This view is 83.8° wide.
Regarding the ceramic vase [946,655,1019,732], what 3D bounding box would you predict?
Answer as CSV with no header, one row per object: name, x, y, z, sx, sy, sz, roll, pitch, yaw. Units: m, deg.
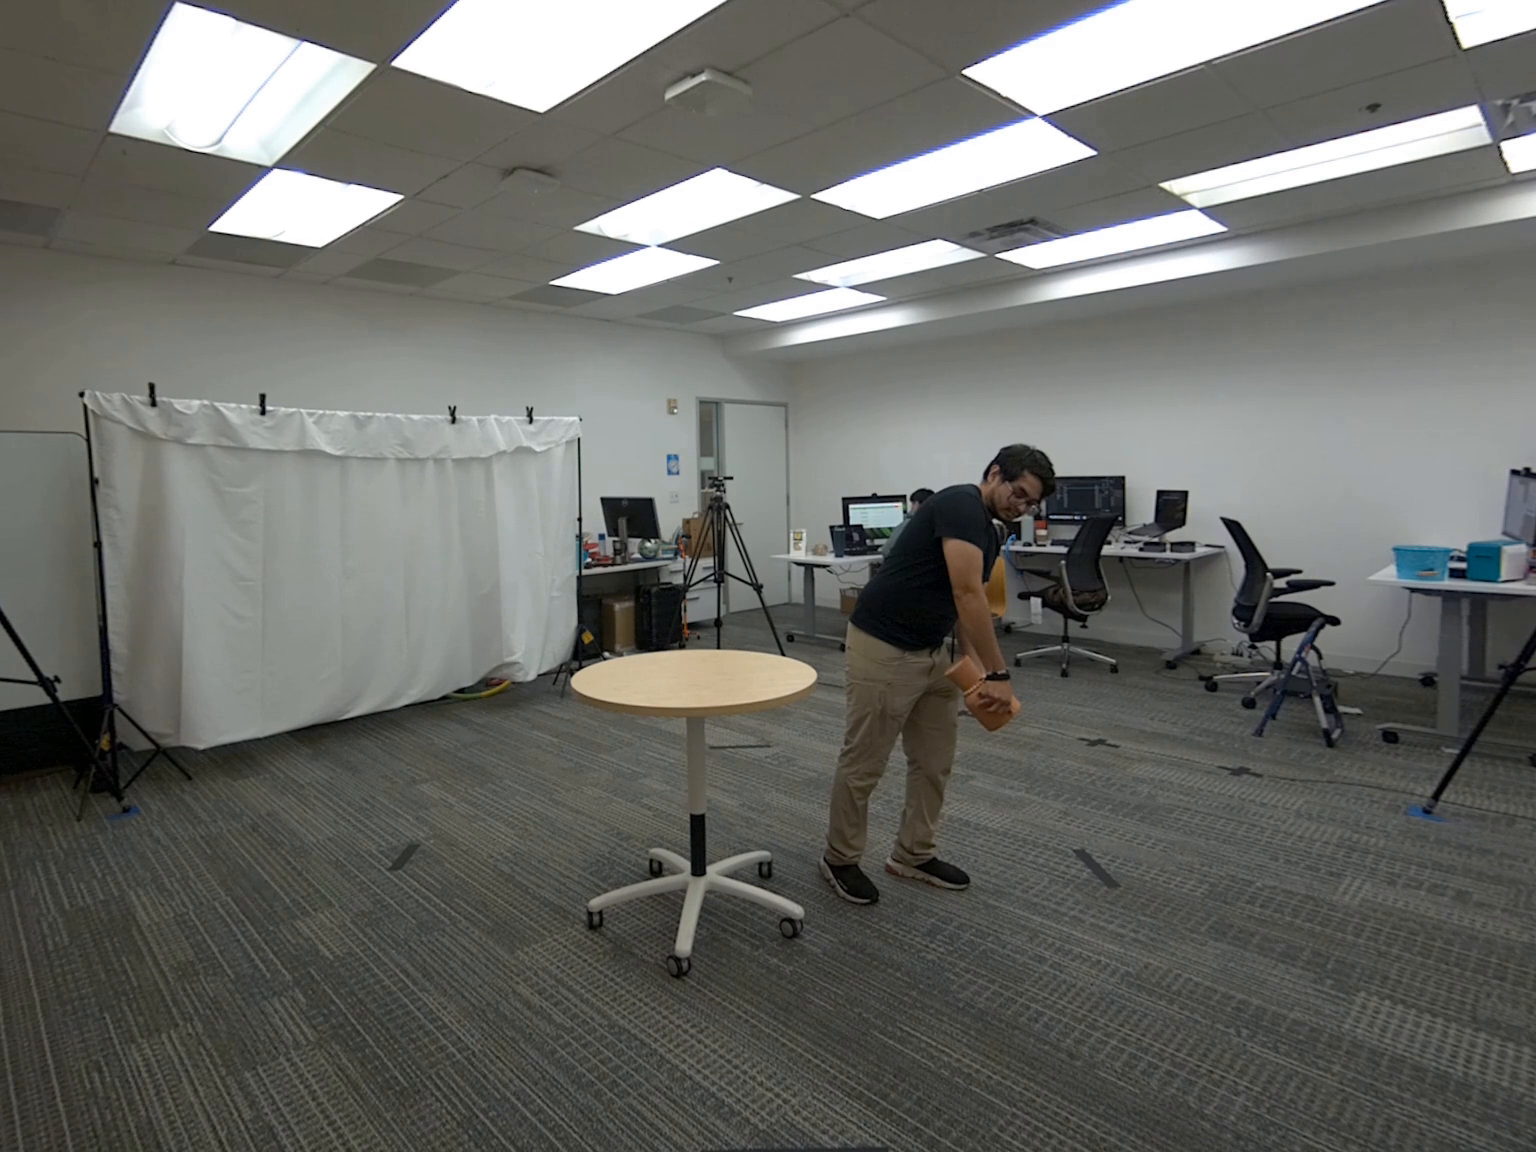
ceramic vase,0.665,0.363,2.693,0.133,0.222,0.158,-36,-9,-46
